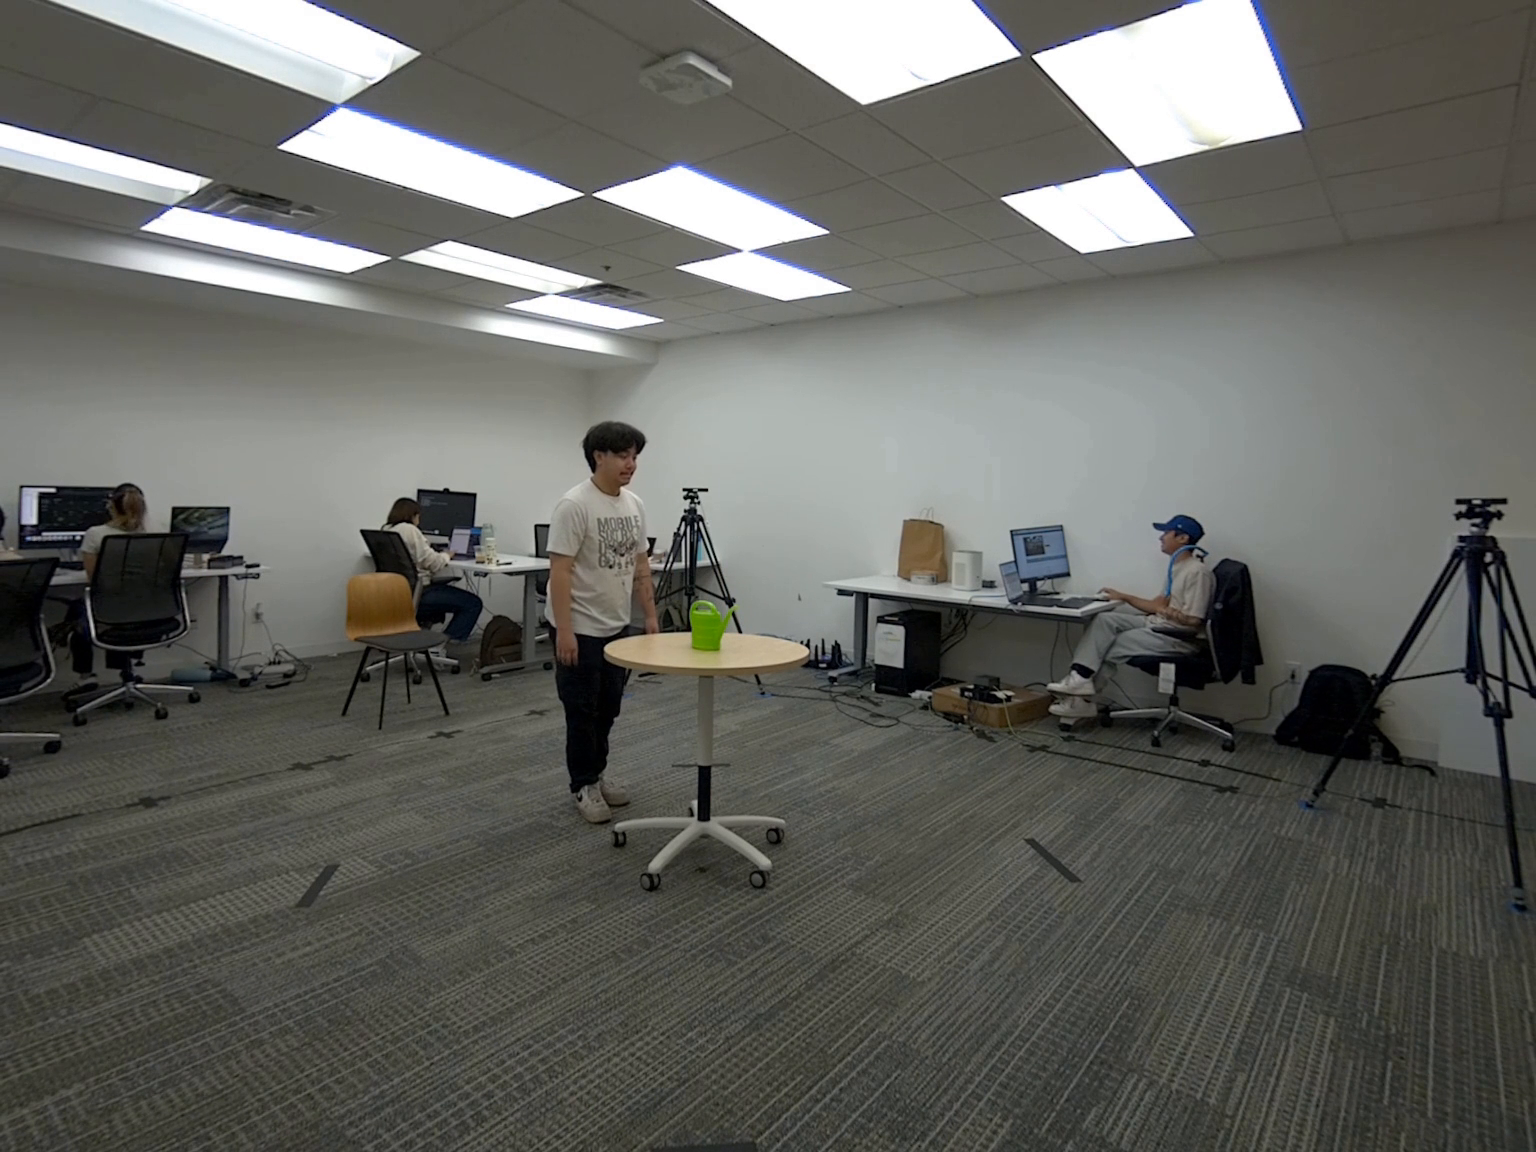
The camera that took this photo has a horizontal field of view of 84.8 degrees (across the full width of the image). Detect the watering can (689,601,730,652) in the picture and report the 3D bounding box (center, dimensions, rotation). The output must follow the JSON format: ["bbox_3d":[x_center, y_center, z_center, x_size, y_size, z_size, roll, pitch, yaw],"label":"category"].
[{"bbox_3d":[-0.225,0.183,3.155,0.095,0.176,0.286,-4,5,-28],"label":"watering can"}]
